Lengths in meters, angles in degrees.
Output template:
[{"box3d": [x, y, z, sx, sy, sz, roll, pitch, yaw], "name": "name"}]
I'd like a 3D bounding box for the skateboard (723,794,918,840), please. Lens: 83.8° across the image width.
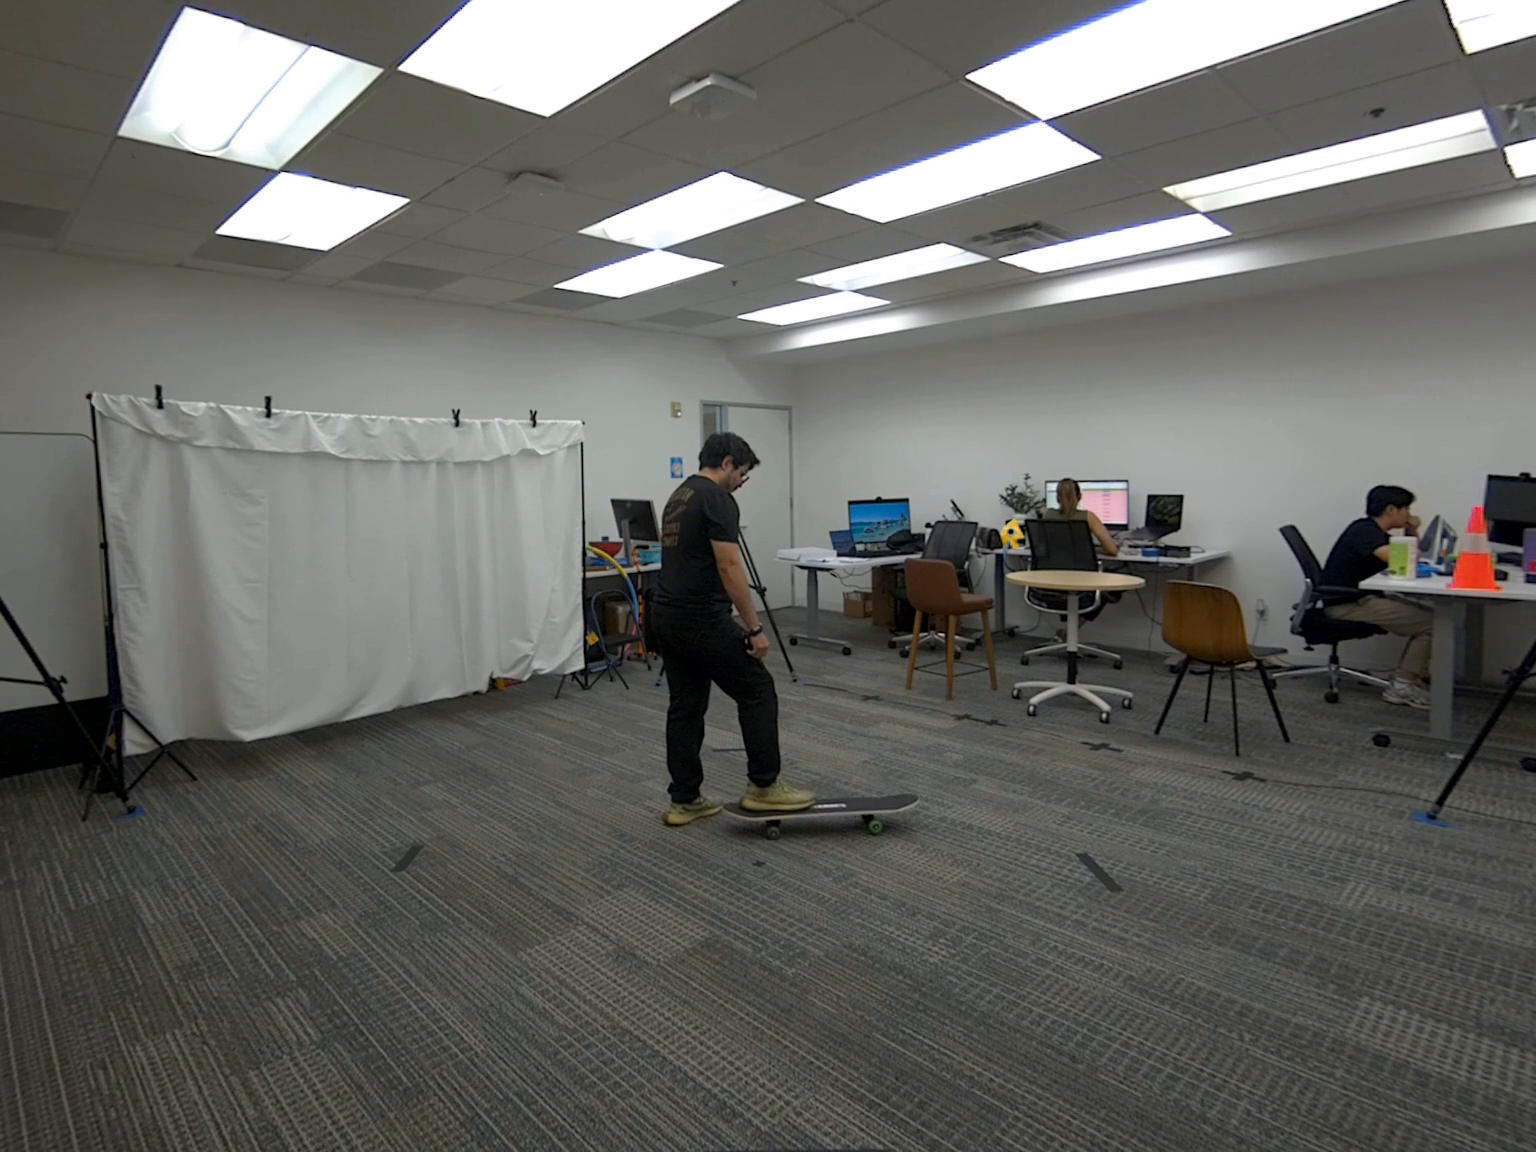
[{"box3d": [0.212, 0.952, 3.406, 0.784, 0.110, 0.194, -2, 2, -1], "name": "skateboard"}]
